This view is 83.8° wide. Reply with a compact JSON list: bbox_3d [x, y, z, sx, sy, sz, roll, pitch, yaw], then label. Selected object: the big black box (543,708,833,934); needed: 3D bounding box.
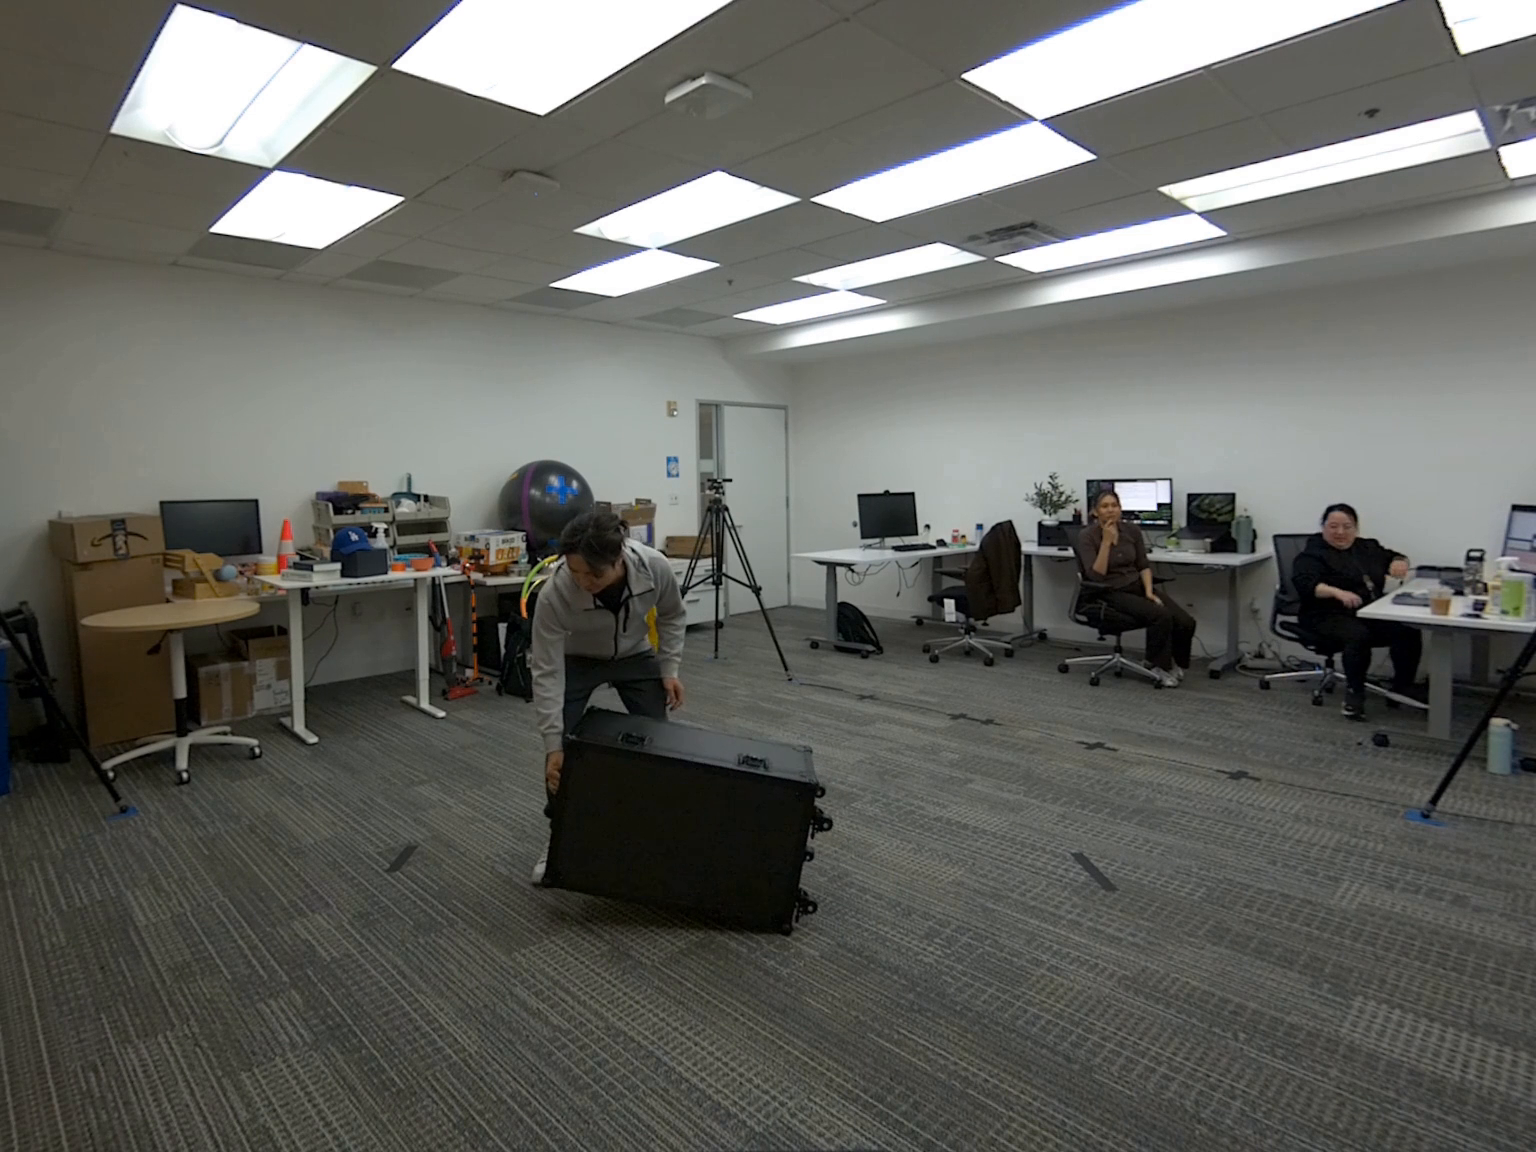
[{"bbox_3d":[-0.242,0.777,2.797,0.864,0.519,0.396,10,5,2],"label":"big black box"}]
